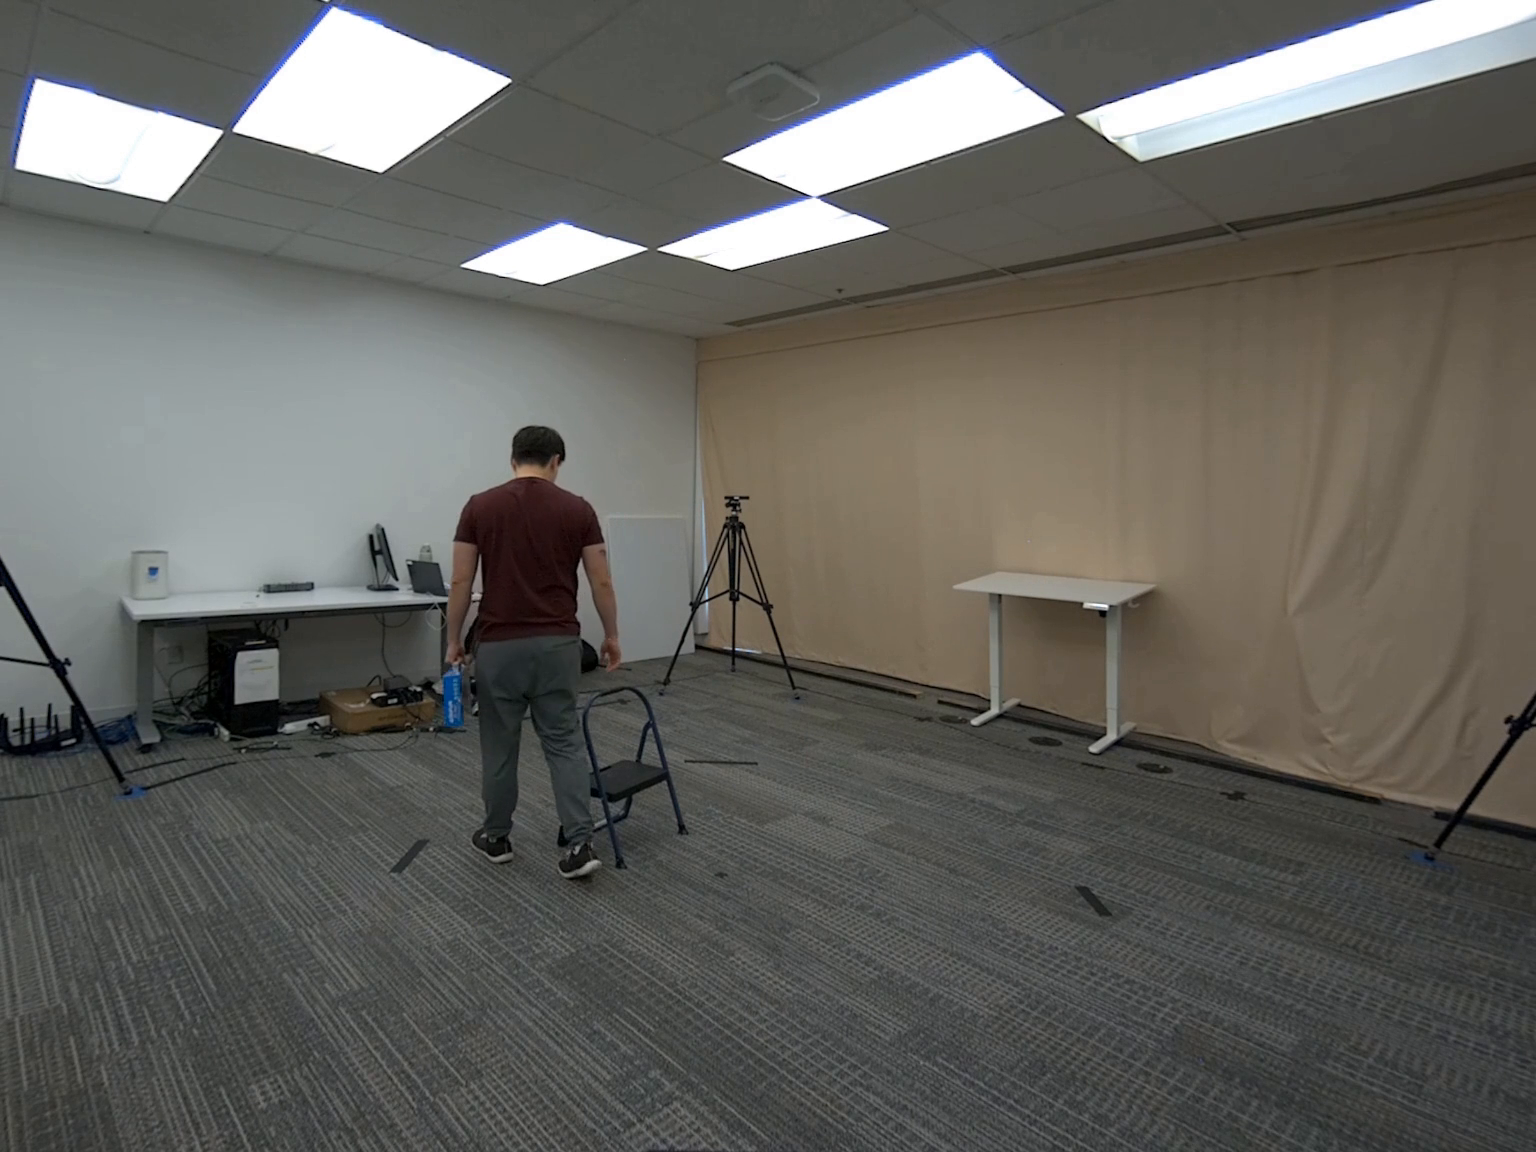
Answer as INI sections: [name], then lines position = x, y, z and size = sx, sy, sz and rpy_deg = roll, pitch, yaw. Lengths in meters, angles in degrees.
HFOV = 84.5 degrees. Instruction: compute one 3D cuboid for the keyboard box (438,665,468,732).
[keyboard box]
position = -1.142, 0.429, 3.095
size = 0.058, 0.176, 0.441
rpy_deg = -3, 1, -15
